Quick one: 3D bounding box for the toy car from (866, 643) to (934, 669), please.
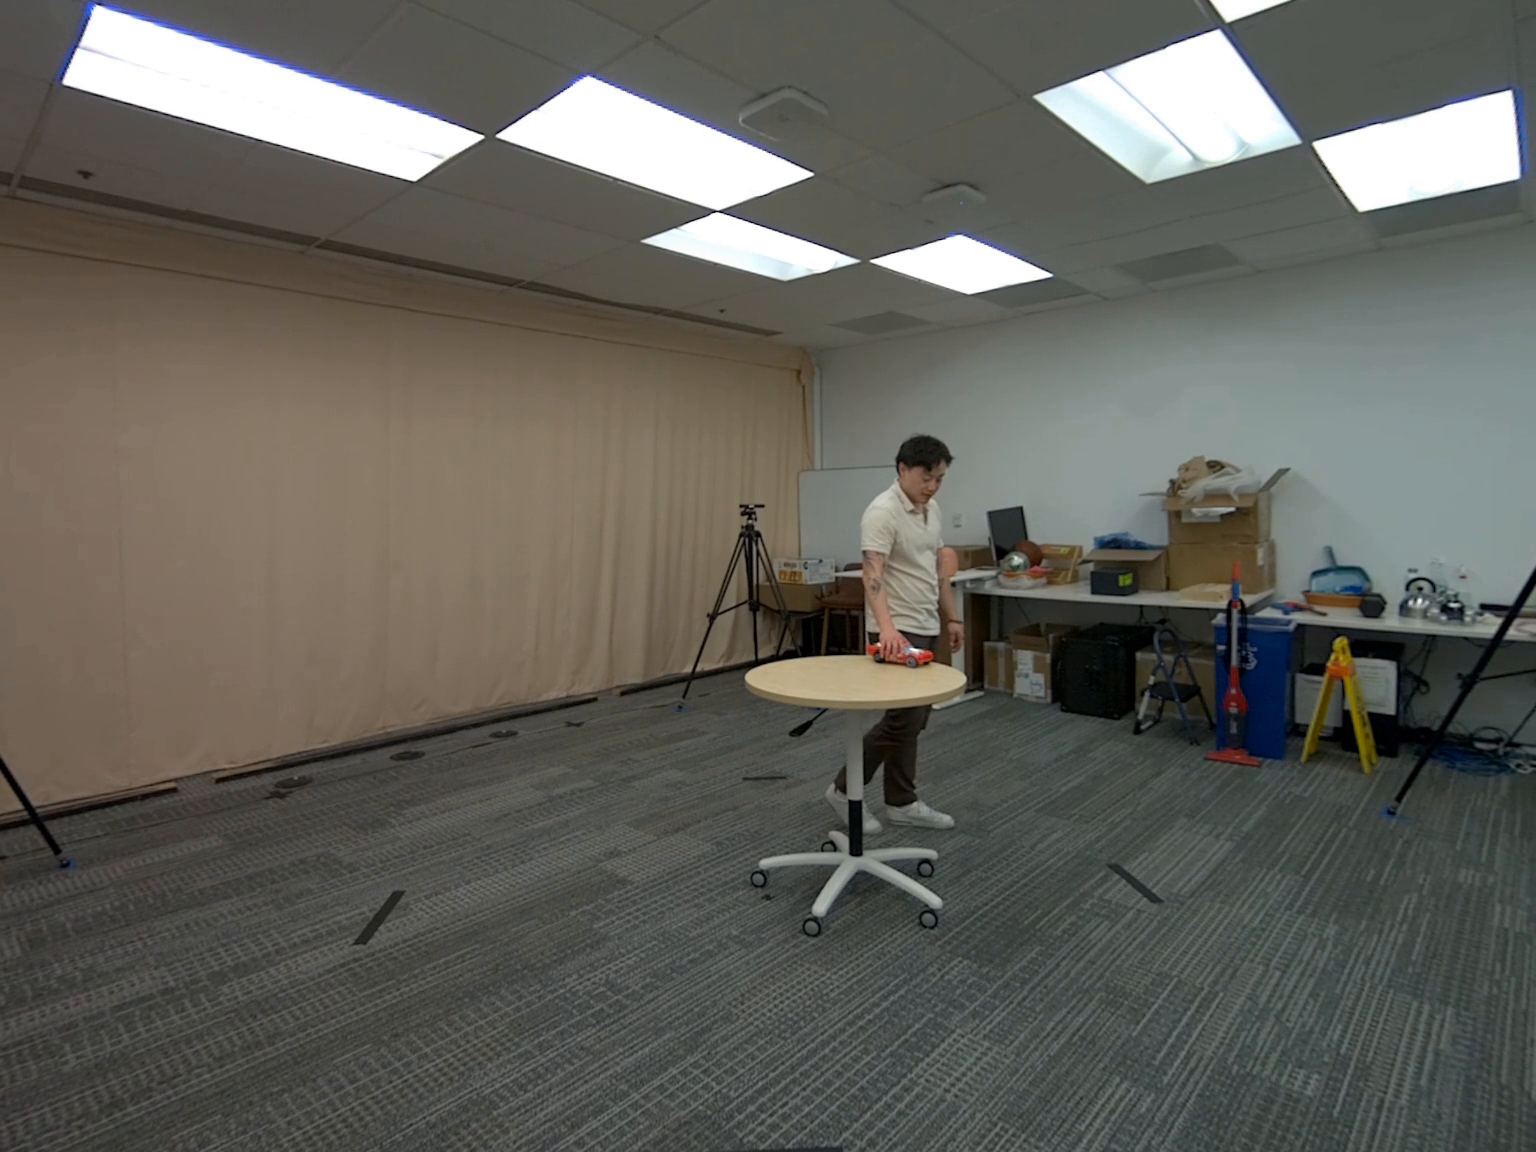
[{"bbox_3d":[0.494,0.297,3.171,0.126,0.083,0.264,-6,18,-43],"label":"toy car"}]
